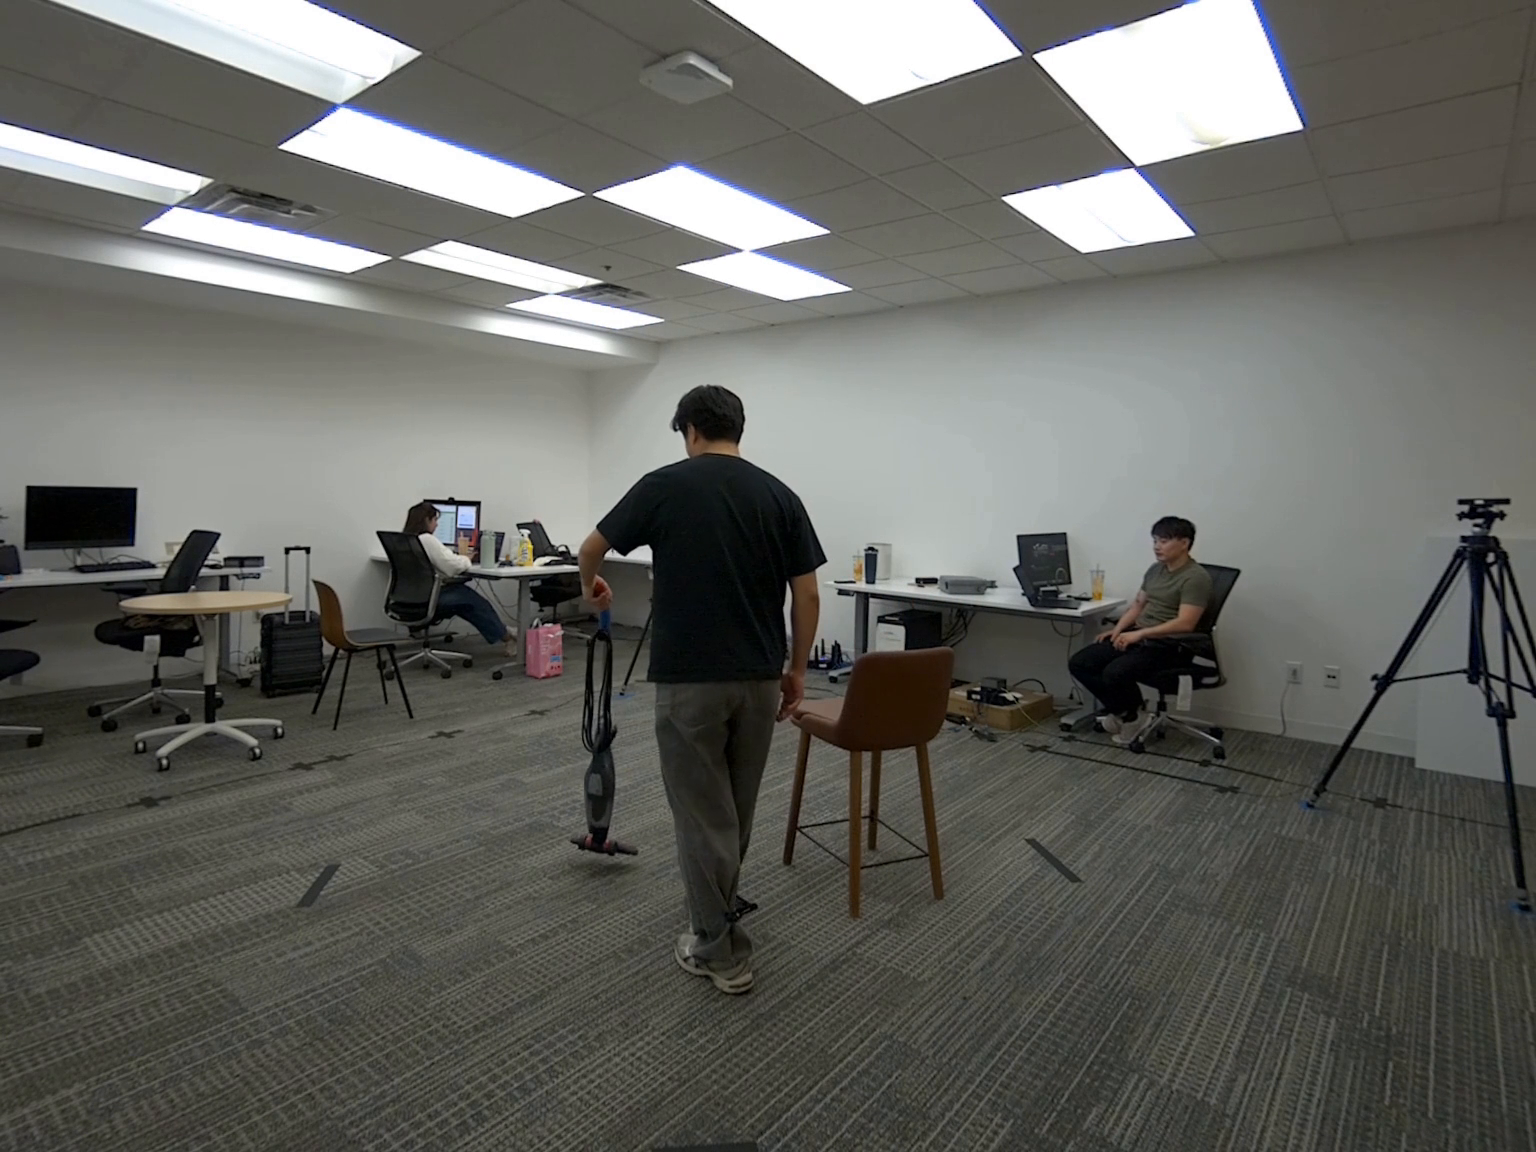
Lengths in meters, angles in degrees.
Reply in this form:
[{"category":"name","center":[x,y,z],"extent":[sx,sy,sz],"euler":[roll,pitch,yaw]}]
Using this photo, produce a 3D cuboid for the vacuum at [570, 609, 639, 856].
[{"category":"vacuum","center":[-0.588,0.517,2.919],"extent":[0.255,1.032,0.145],"euler":[7,19,7]}]
